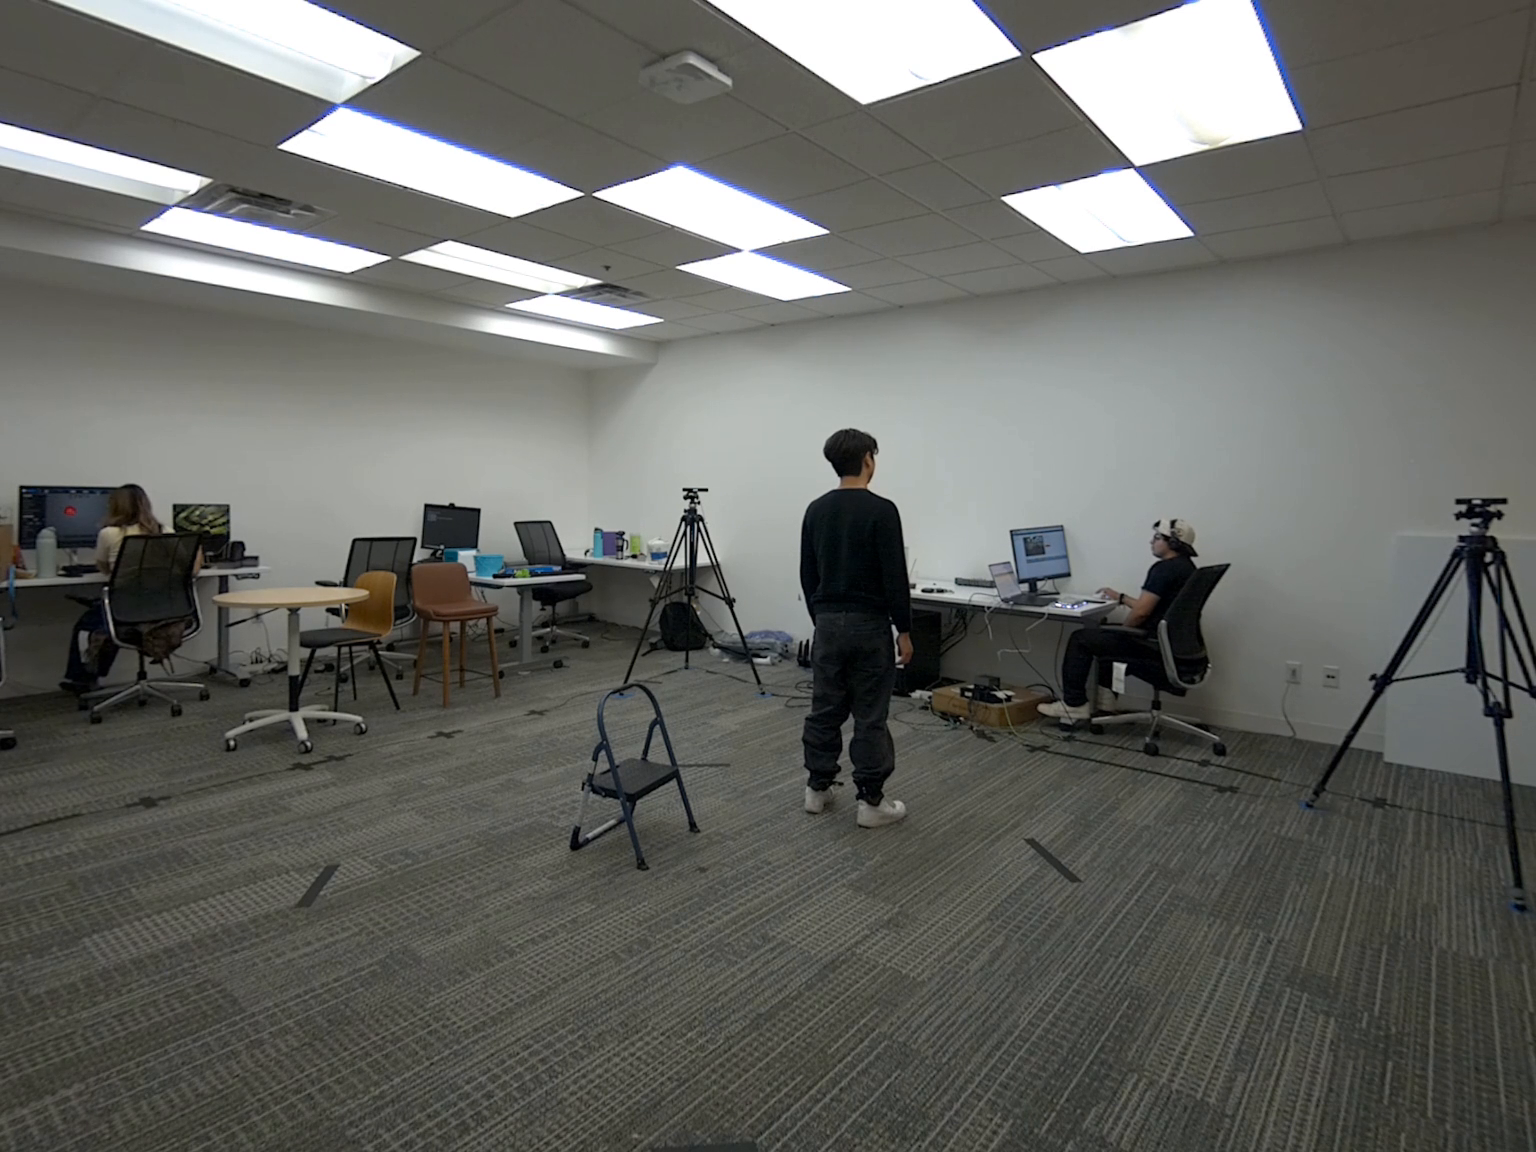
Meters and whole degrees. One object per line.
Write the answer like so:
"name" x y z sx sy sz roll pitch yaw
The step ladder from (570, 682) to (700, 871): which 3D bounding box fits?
"step ladder" -0.522 0.738 3.341 0.358 0.604 0.421 3 4 25
